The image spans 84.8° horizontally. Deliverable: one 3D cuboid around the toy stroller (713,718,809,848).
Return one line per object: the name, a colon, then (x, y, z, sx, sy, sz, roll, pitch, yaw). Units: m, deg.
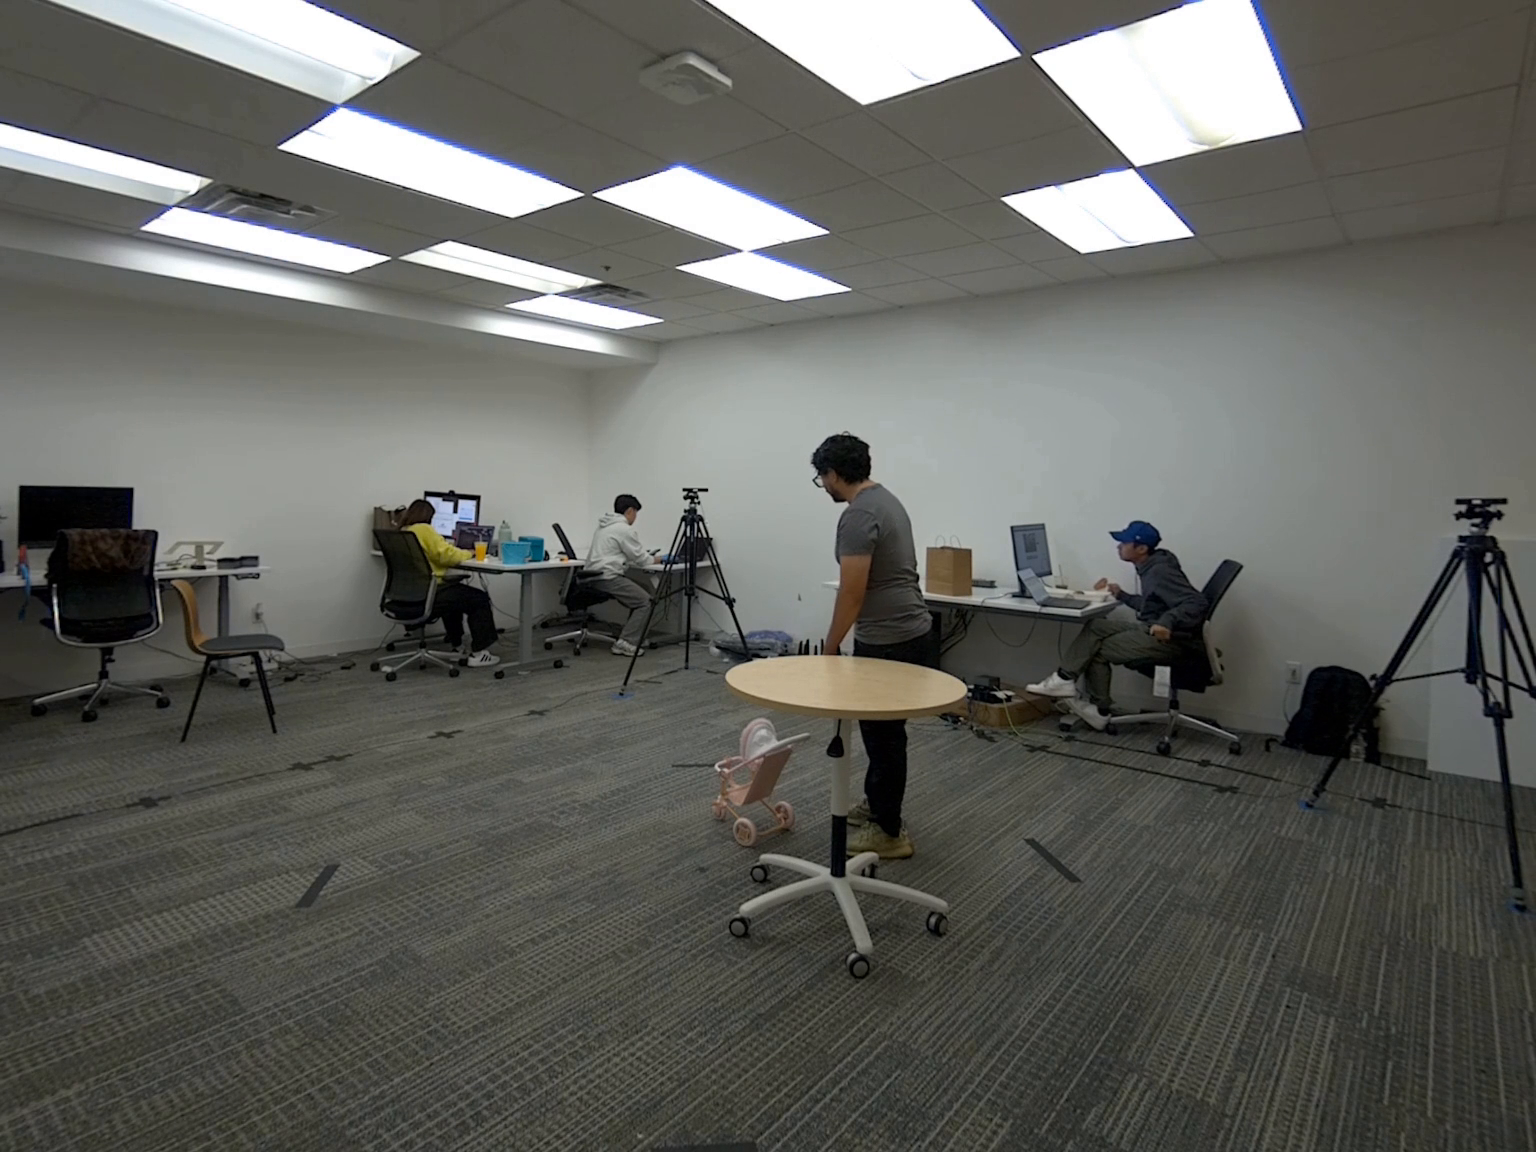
toy stroller: (-0.067, 0.813, 3.453, 0.273, 0.530, 0.355, -2, 20, -46)
